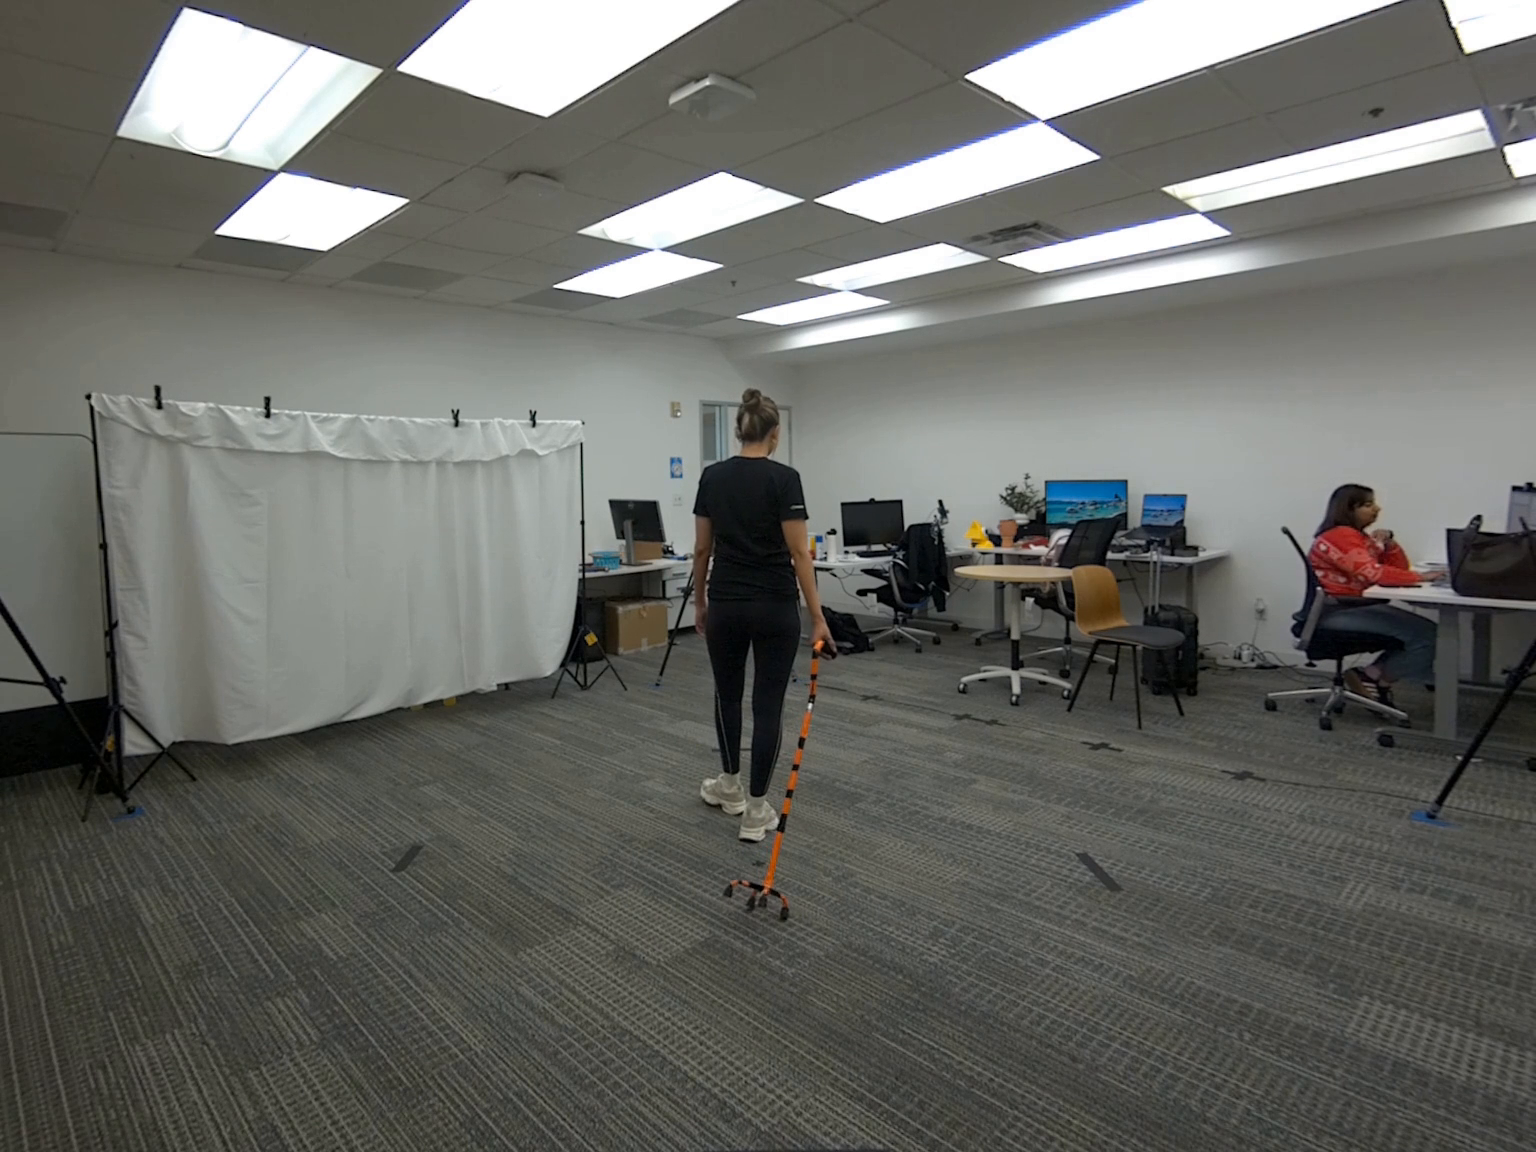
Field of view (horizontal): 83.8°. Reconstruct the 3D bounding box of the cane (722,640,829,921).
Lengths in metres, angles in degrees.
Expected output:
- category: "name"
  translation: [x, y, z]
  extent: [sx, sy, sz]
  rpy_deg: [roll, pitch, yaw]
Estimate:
- category: "cane"
  translation: [0.070, 0.643, 2.865]
  extent: [0.155, 0.921, 0.199]
  rpy_deg: [1, -27, 25]
